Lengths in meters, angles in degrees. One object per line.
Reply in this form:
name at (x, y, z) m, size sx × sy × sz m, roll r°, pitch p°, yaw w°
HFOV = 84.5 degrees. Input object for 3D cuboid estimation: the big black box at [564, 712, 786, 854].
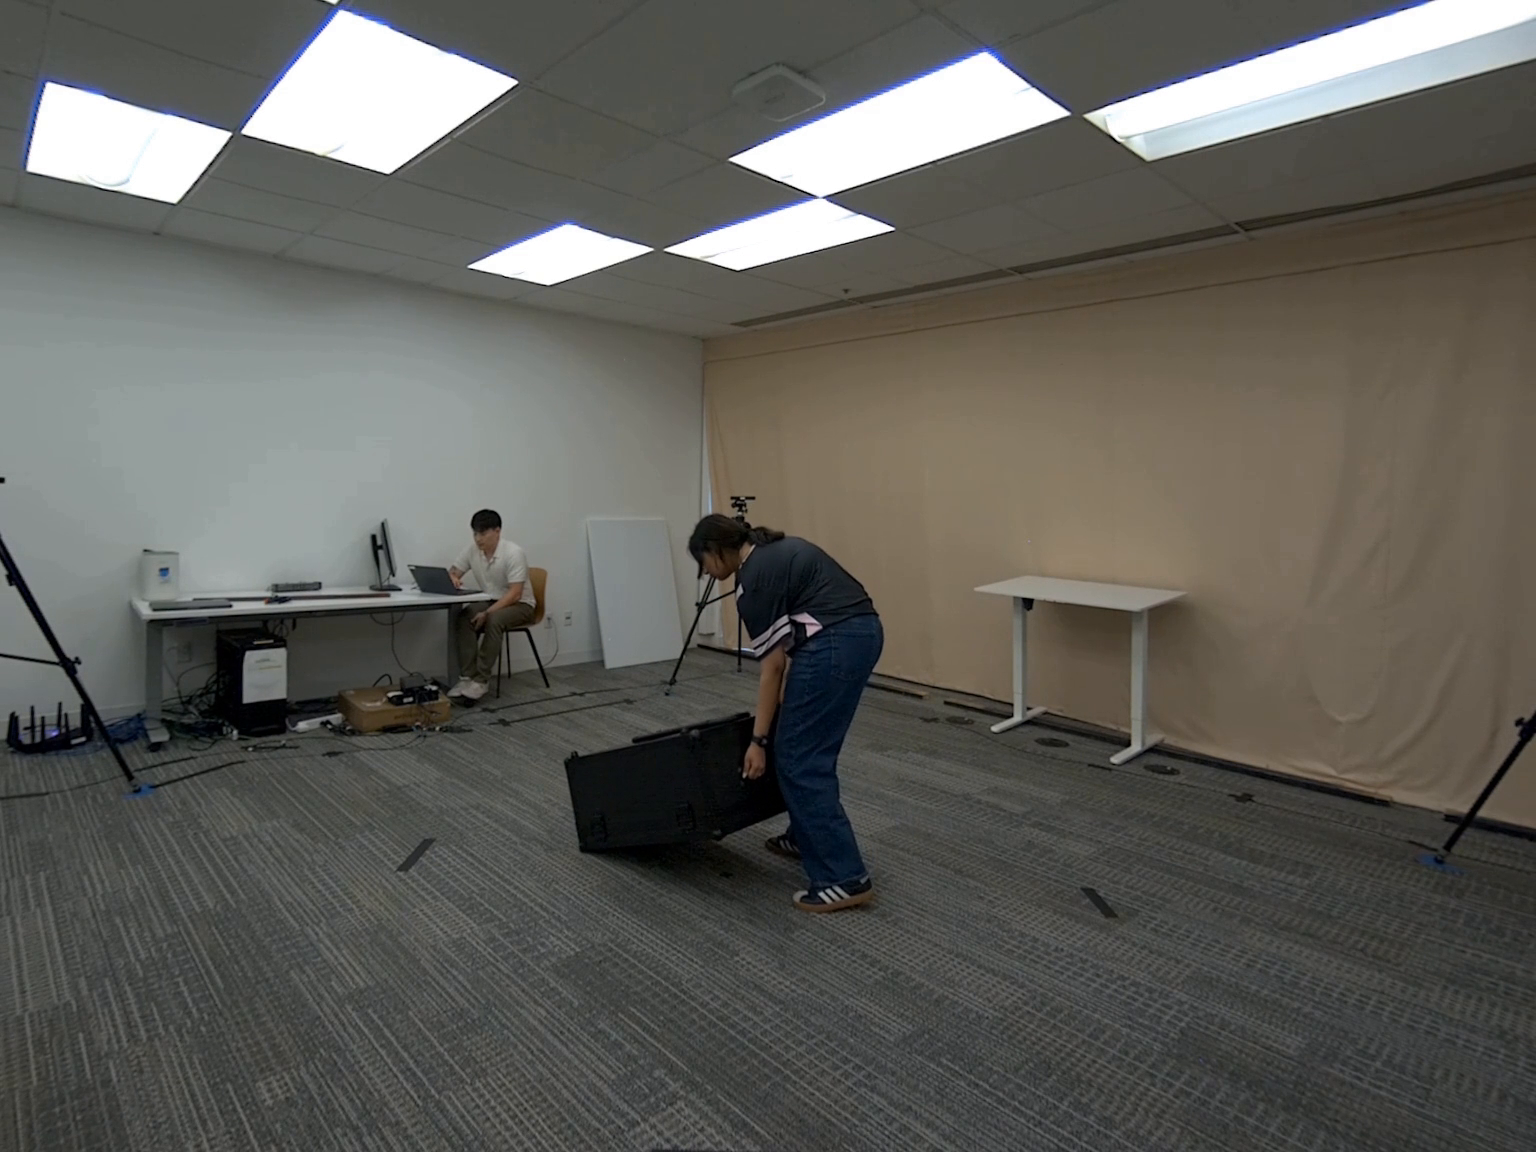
big black box at (-0.373, 0.799, 3.247) m, size 0.880 × 0.388 × 0.512 m, roll -21°, pitch -10°, yaw 41°
